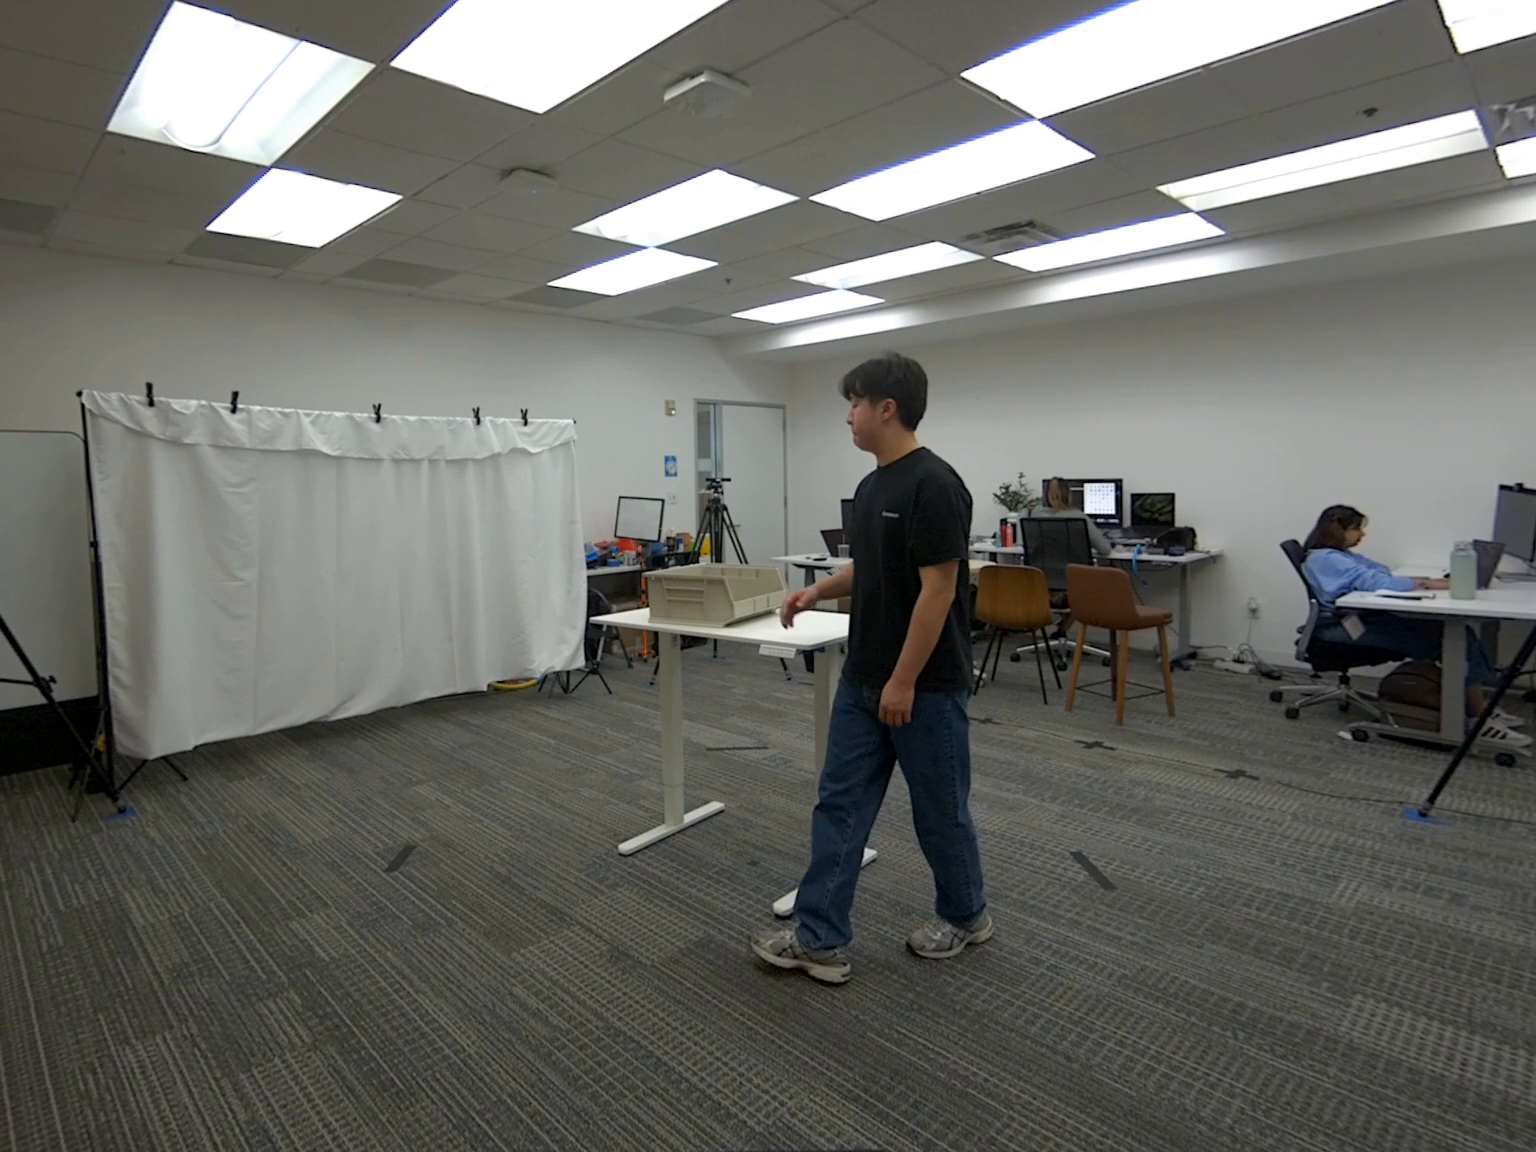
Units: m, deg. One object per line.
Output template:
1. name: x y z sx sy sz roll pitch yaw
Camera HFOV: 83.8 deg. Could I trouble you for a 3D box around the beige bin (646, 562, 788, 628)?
1. beige bin: -0.184 0.069 3.165 0.387 0.188 0.413 1 6 29
